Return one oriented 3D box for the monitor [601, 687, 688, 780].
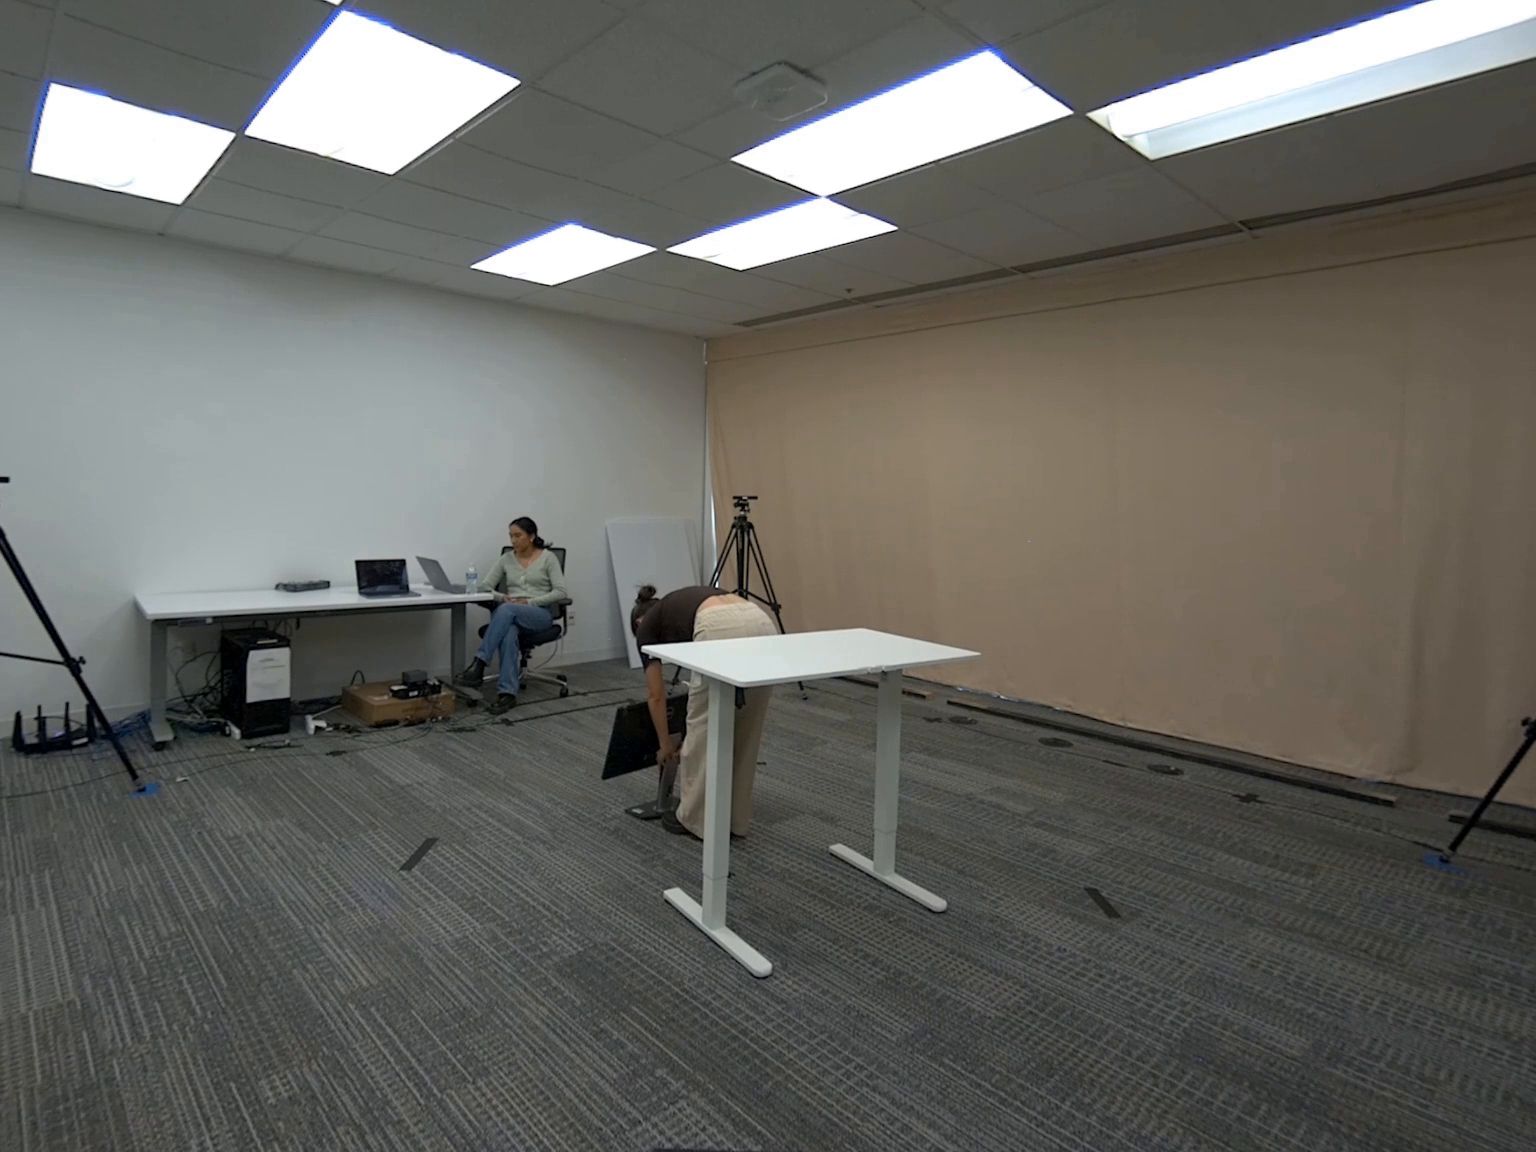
[{"bbox_3d":[-0.466,0.787,3.710,0.192,0.520,0.527,8,8,41],"label":"monitor"}]
